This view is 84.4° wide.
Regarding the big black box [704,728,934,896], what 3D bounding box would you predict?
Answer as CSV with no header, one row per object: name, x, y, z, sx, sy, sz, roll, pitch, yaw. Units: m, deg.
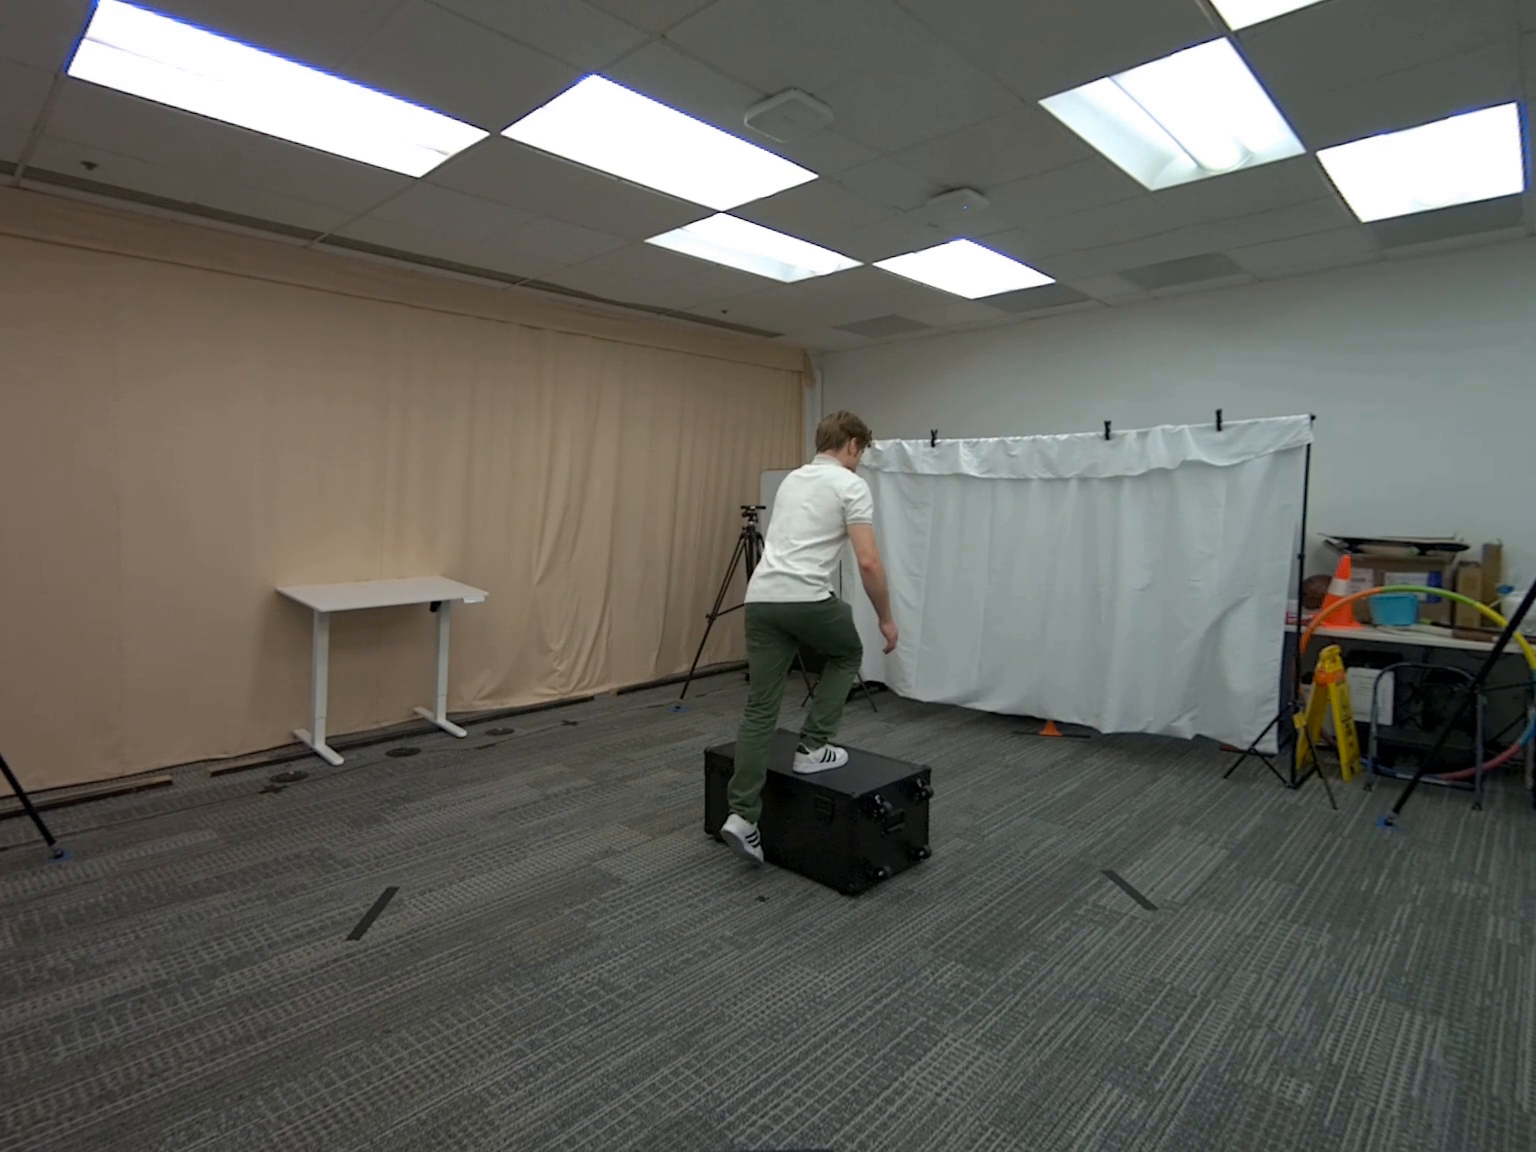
big black box,0.208,0.922,3.377,0.890,0.395,0.505,3,5,44
